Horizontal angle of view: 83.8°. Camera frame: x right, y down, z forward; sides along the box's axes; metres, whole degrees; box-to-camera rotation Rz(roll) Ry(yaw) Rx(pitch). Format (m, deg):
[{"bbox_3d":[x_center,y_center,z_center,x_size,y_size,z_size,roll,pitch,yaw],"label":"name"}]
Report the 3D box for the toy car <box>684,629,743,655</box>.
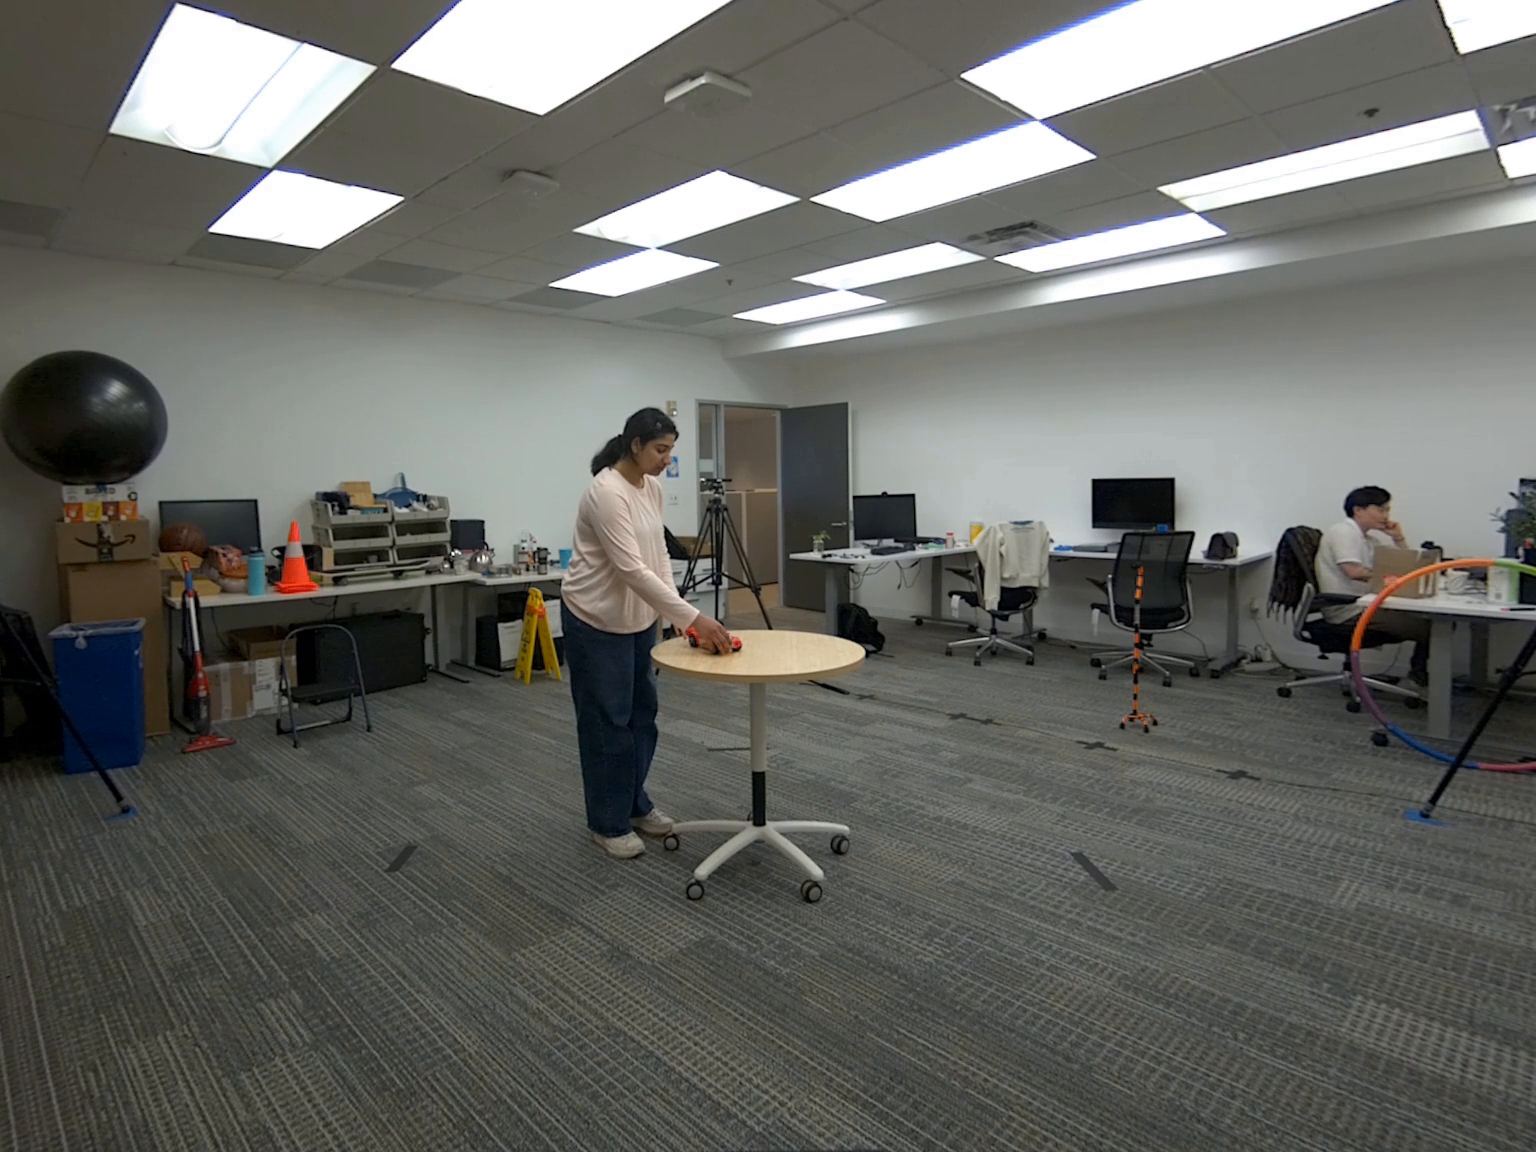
[{"bbox_3d":[-0.203,0.230,3.099,0.127,0.082,0.264,-4,19,-34],"label":"toy car"}]
